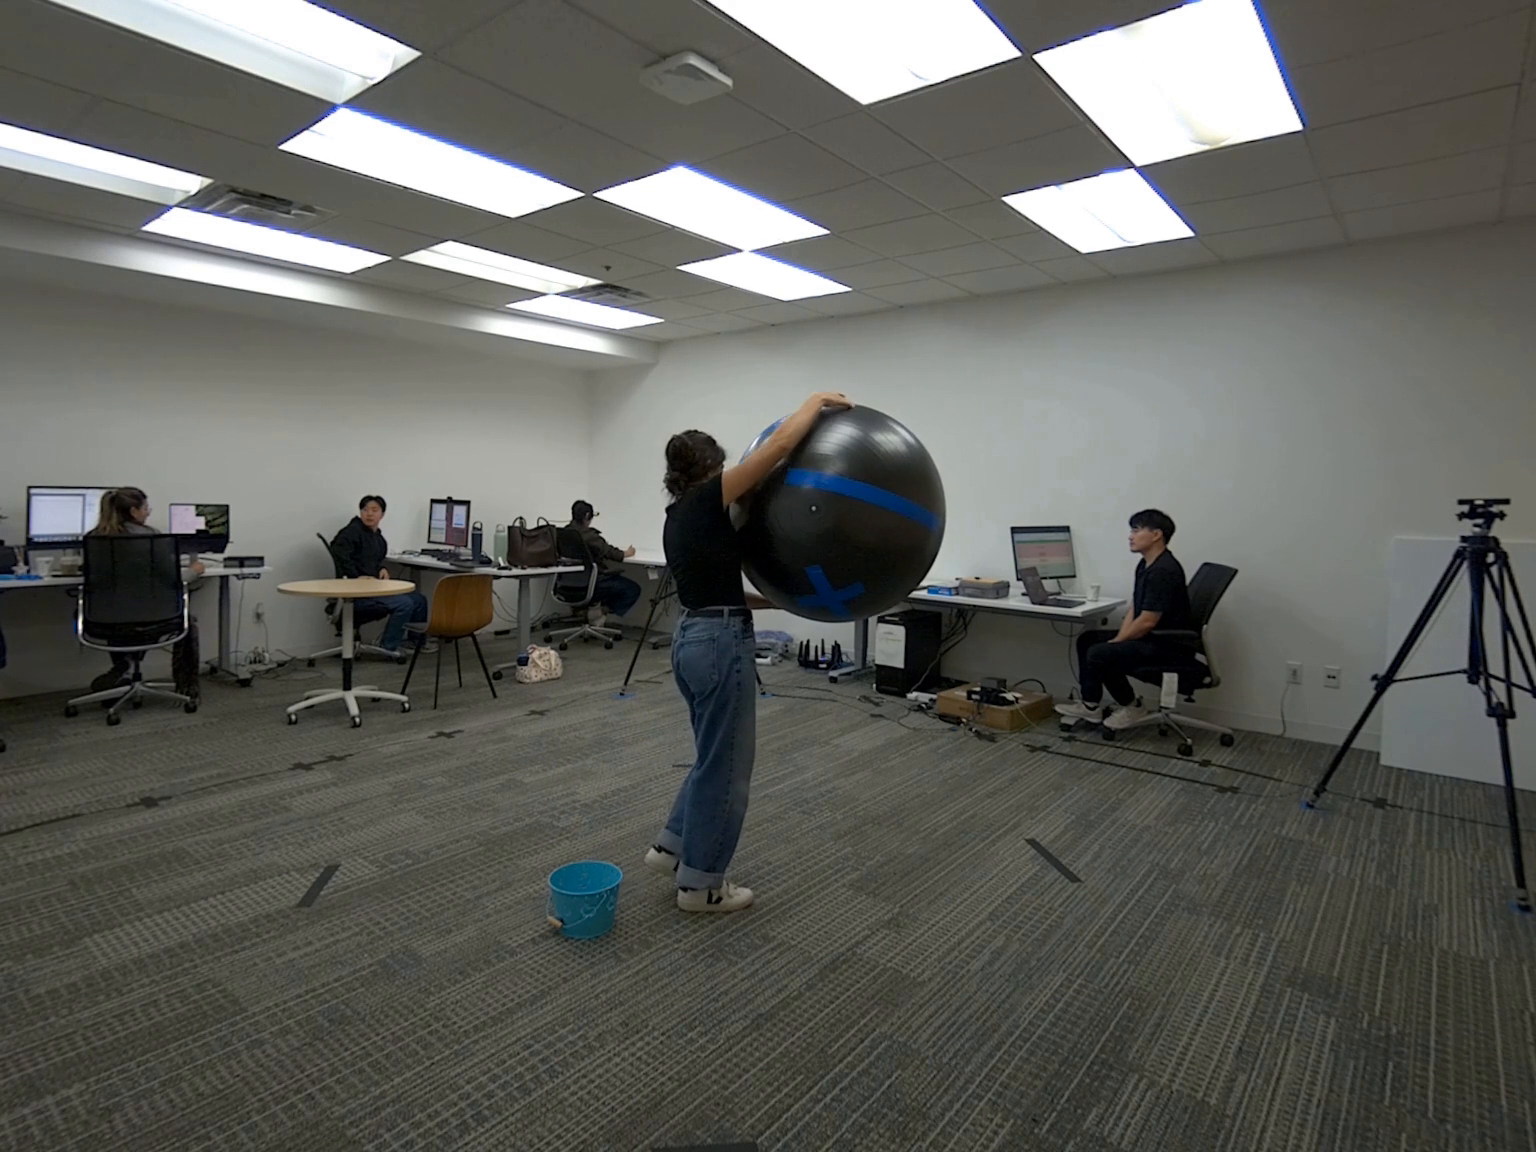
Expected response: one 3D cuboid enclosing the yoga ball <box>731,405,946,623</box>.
[{"bbox_3d":[0.228,-0.221,2.968,0.757,0.755,0.762,1,4,-2],"label":"yoga ball"}]
